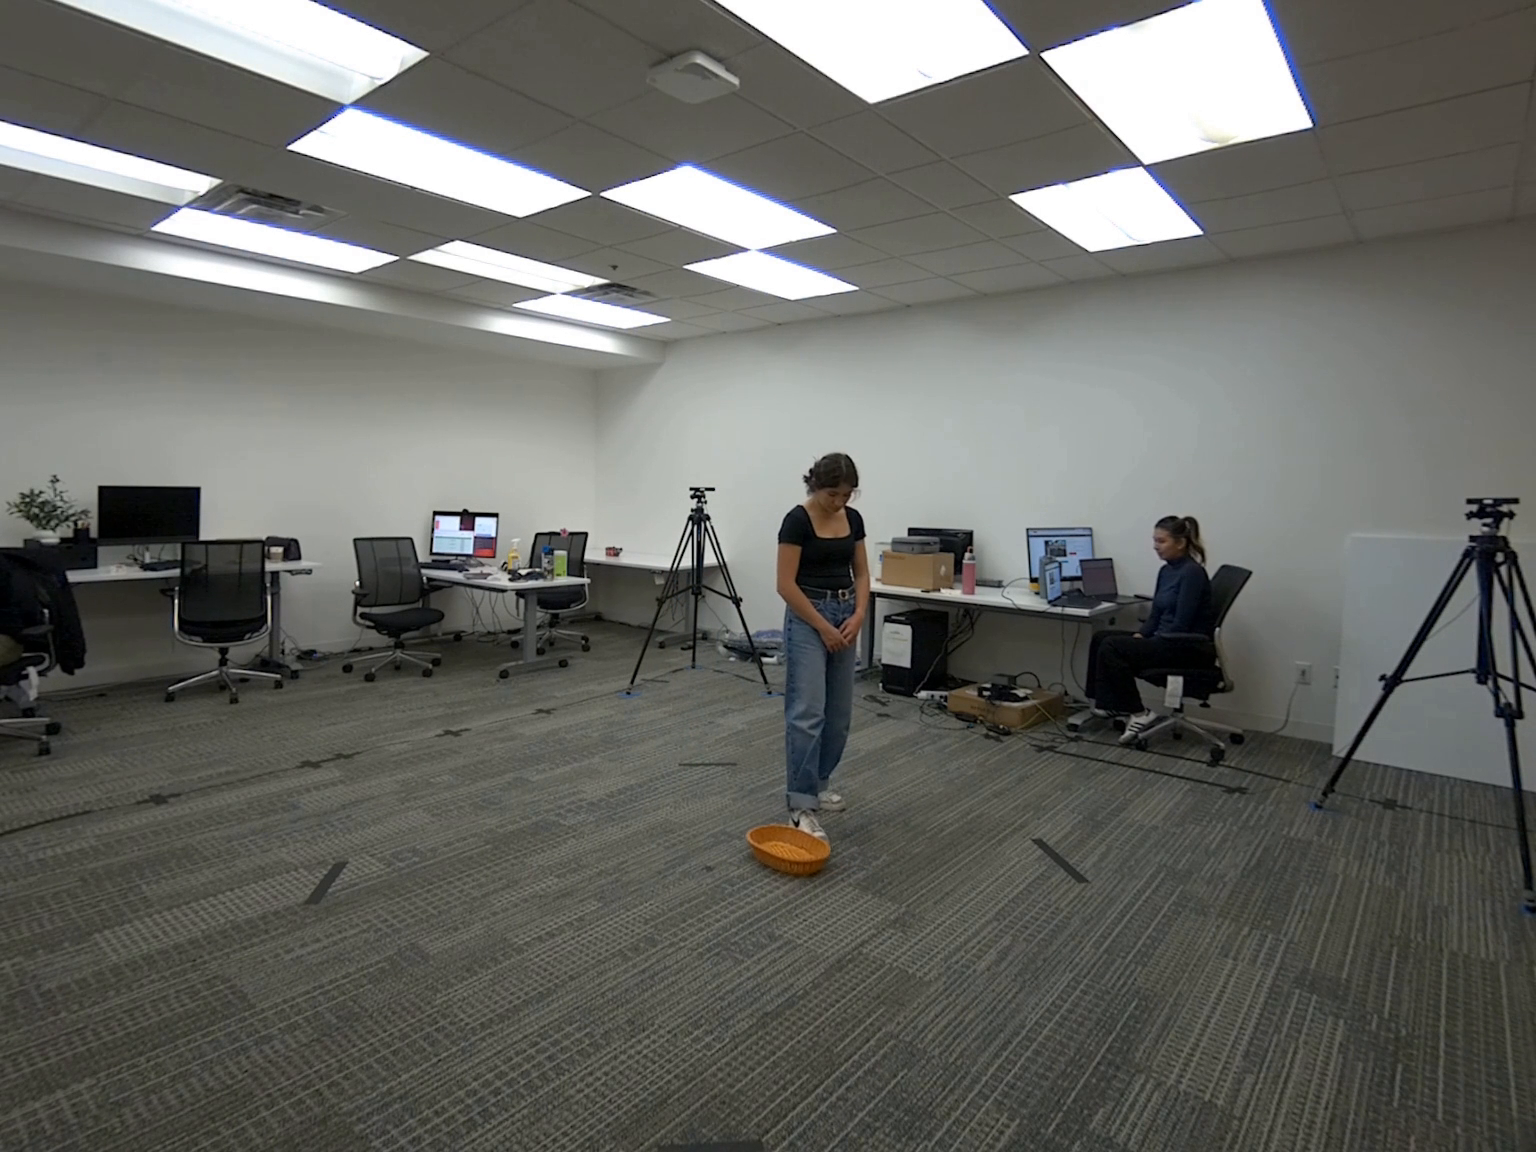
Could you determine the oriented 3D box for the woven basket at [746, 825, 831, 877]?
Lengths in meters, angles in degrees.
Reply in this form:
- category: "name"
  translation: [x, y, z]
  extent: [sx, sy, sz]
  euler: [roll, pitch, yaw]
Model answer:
- category: "woven basket"
  translation: [0.061, 1.021, 3.191]
  extent: [0.245, 0.073, 0.362]
  euler: [-4, 7, -38]
